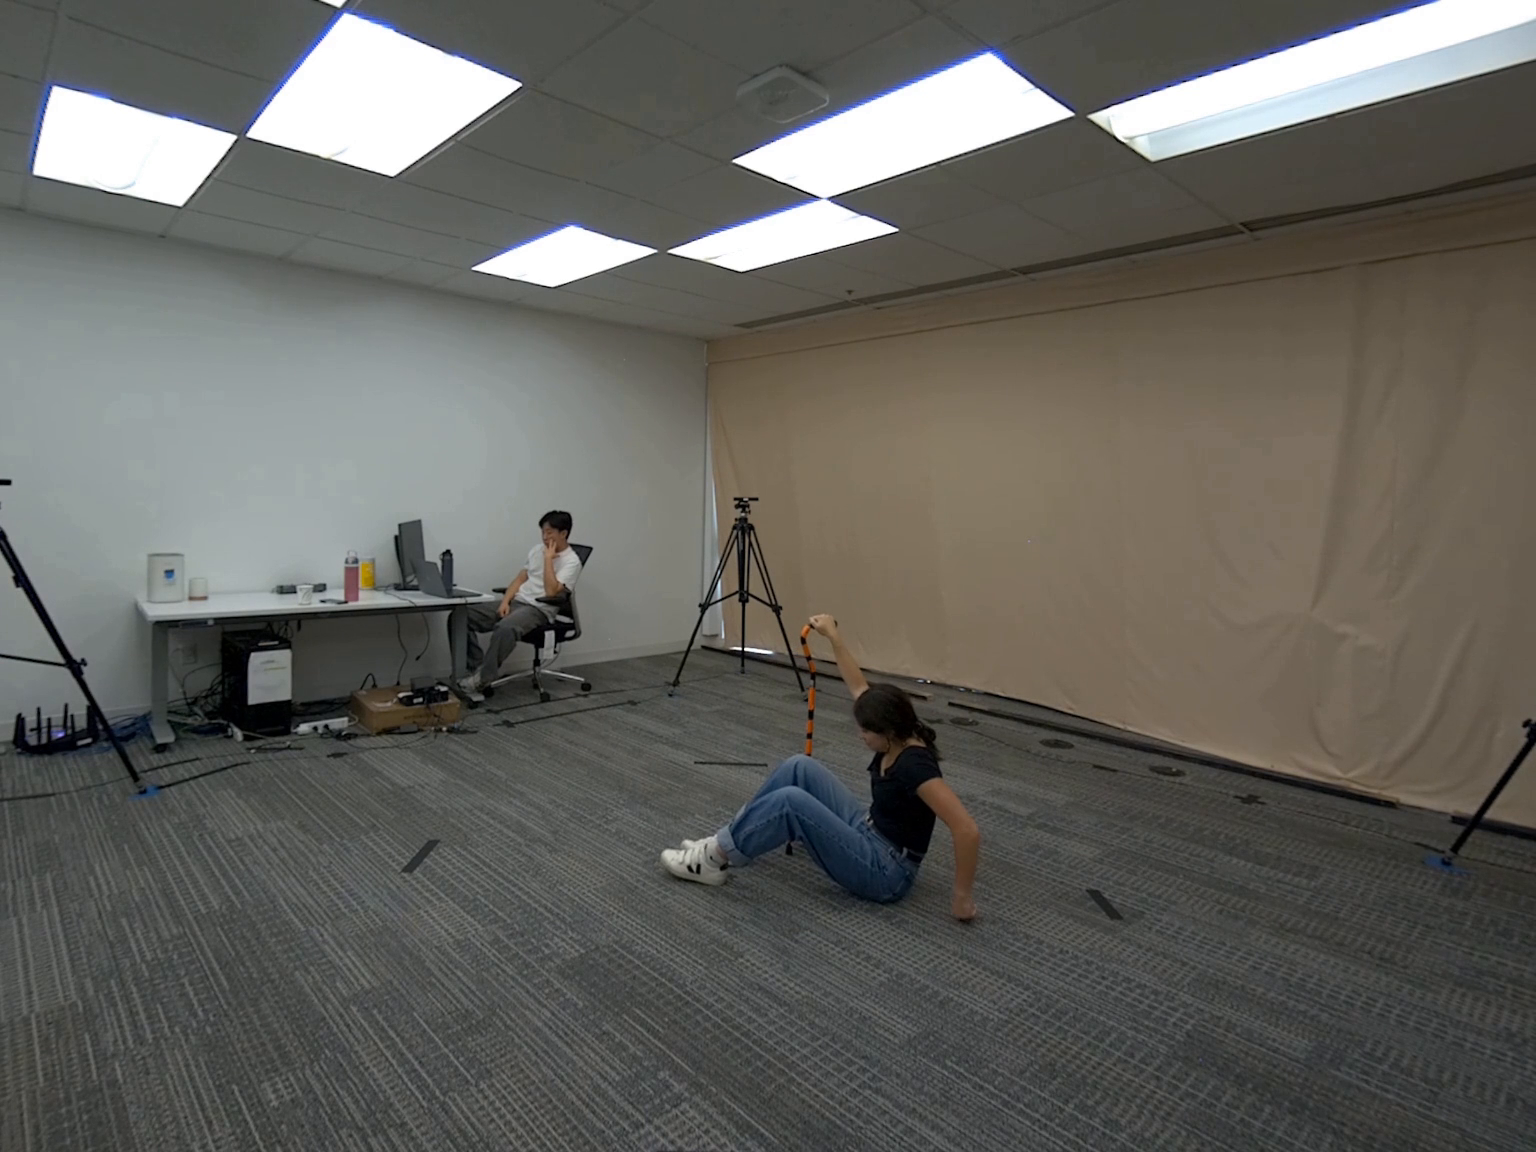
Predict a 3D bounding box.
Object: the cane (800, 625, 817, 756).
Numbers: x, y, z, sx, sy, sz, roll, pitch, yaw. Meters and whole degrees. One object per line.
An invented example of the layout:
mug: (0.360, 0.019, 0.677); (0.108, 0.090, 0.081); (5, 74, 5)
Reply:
cane: (0.155, 0.633, 3.389); (0.202, 0.906, 0.155); (2, 3, -28)
